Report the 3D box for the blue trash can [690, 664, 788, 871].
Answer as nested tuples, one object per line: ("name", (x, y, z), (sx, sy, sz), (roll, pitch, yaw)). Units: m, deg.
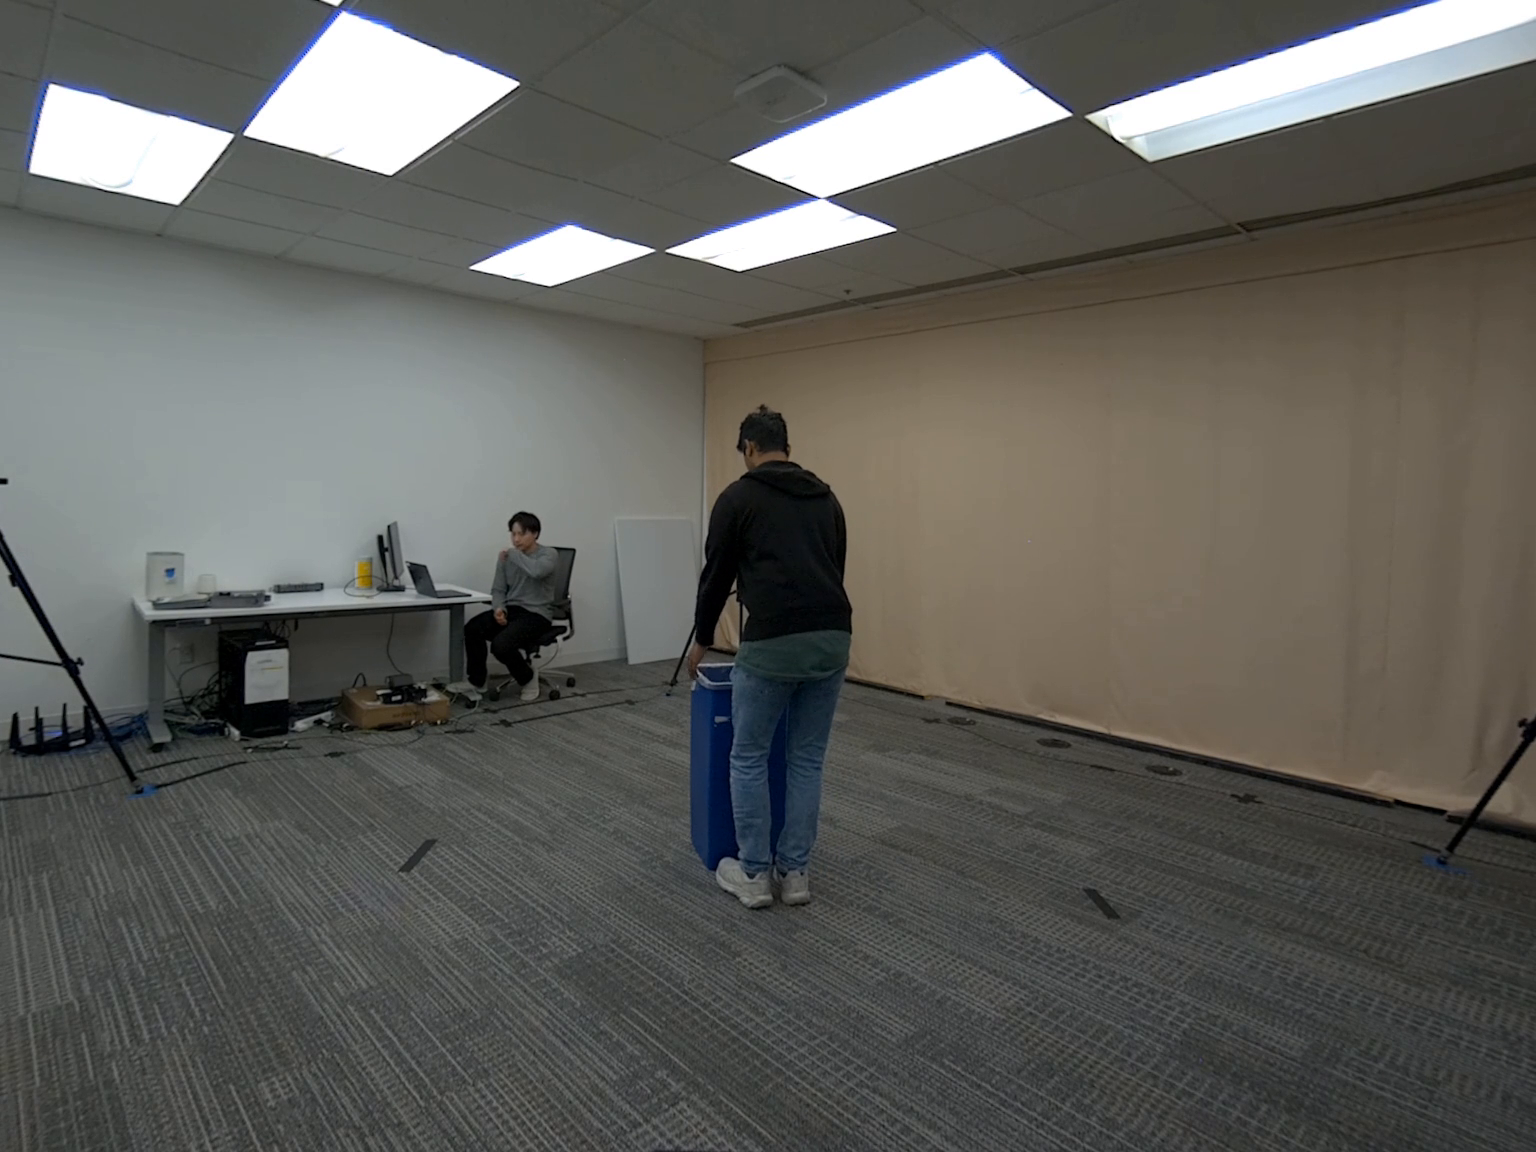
("blue trash can", (-0.118, 0.729, 3.307), (0.369, 0.712, 0.384), (0, 4, -18))
